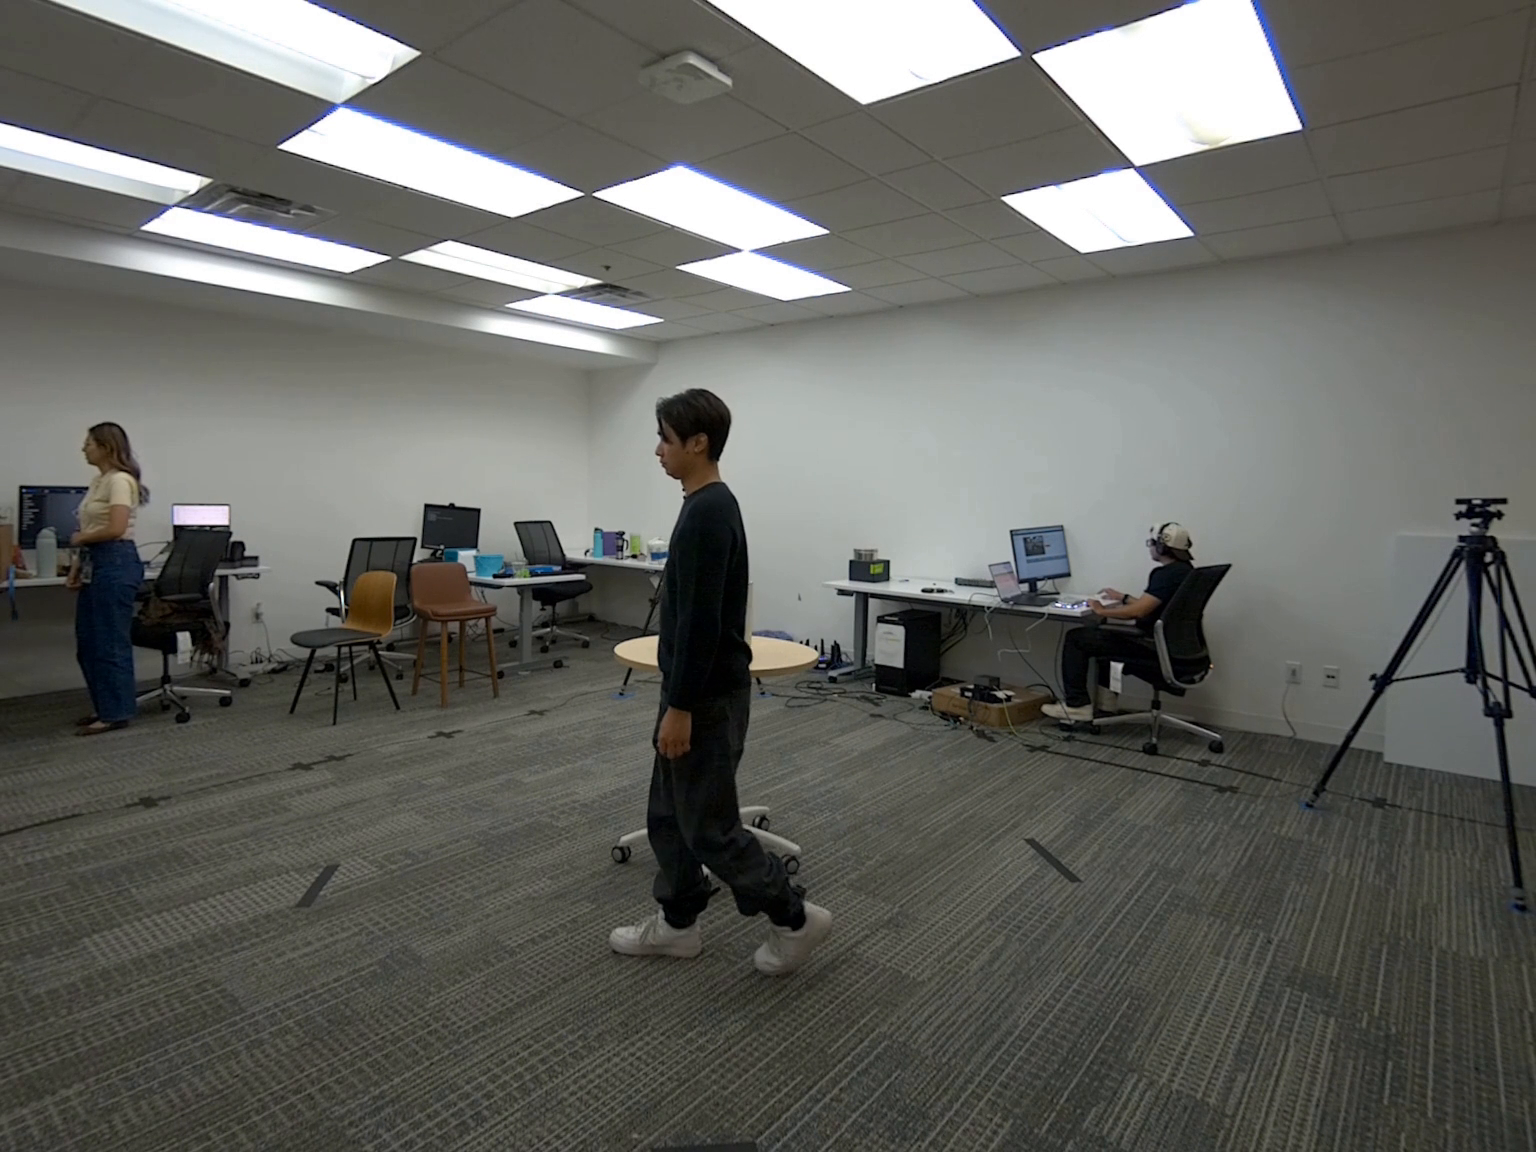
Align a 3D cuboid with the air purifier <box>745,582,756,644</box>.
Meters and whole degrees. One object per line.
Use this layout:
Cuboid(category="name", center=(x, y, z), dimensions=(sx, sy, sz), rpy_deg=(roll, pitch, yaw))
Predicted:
Cuboid(category="air purifier", center=(-0.163, 0.145, 3.154), dimensions=(0.166, 0.265, 0.177), rpy_deg=(1, 2, -39))
